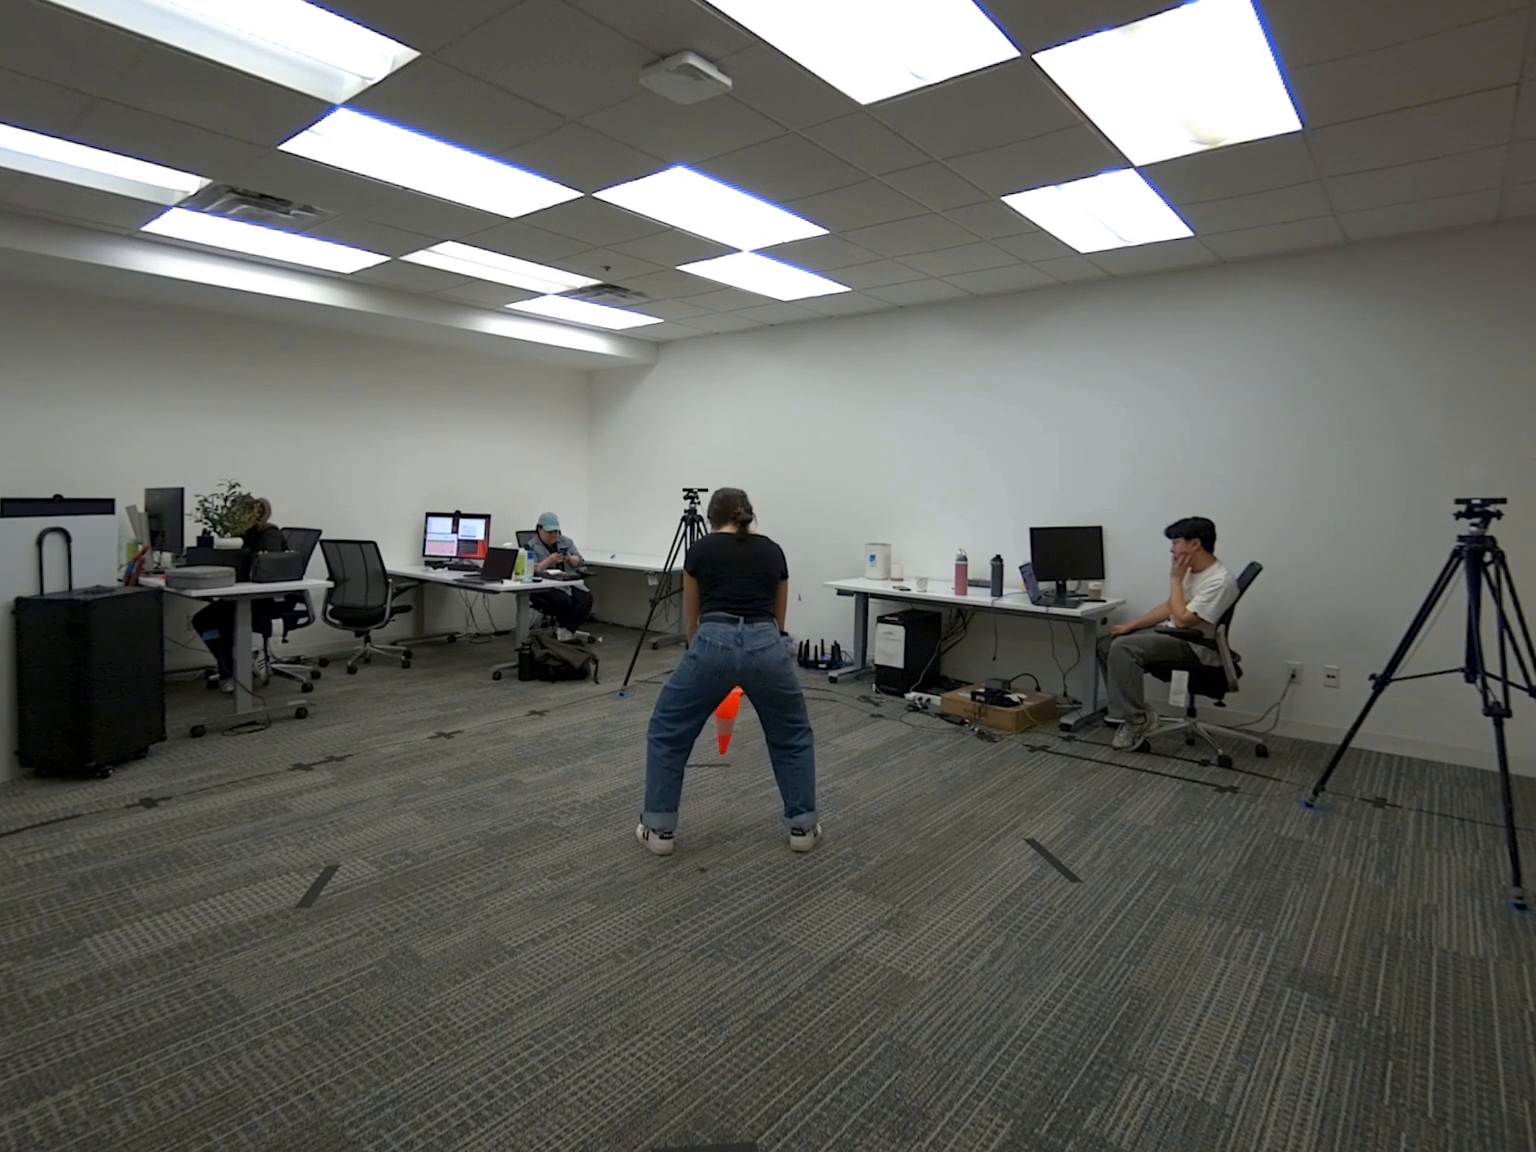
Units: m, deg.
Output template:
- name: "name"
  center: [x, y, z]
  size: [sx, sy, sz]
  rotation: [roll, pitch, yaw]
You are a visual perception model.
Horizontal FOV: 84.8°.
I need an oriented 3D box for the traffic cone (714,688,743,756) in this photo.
- name: "traffic cone"
  center: [-0.186, 0.605, 3.652]
  size: [0.201, 0.376, 0.211]
  rotation: [1, 25, -11]
